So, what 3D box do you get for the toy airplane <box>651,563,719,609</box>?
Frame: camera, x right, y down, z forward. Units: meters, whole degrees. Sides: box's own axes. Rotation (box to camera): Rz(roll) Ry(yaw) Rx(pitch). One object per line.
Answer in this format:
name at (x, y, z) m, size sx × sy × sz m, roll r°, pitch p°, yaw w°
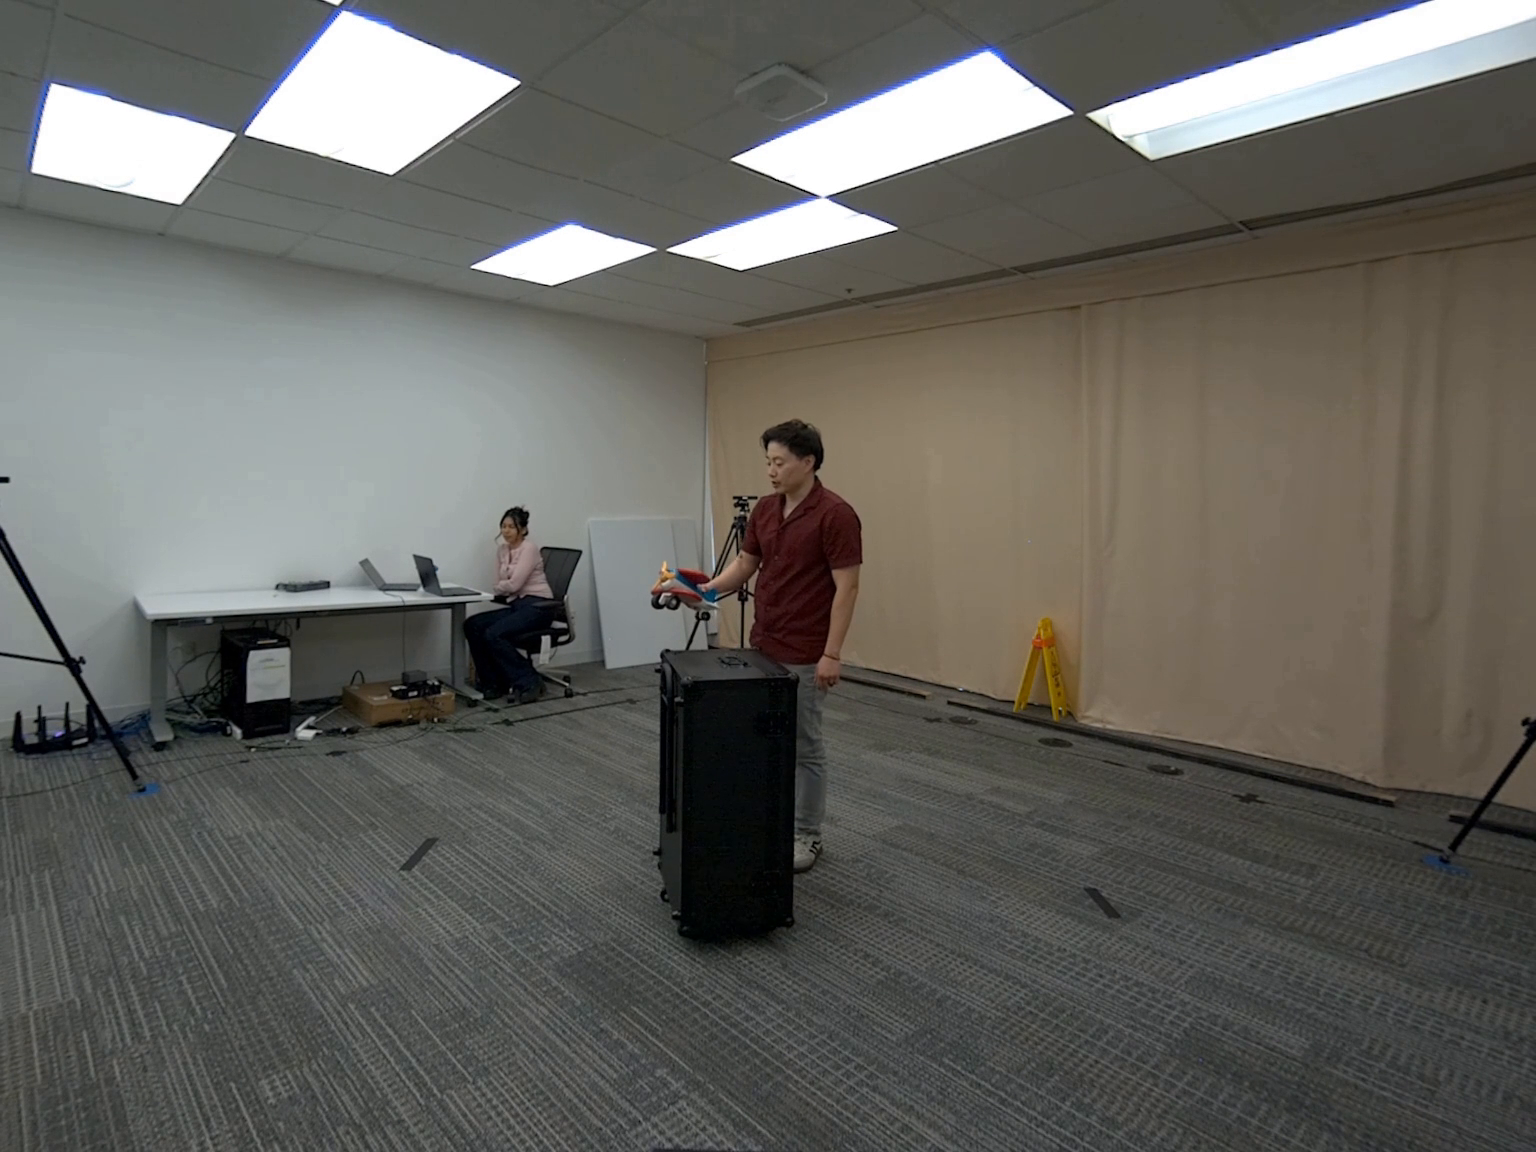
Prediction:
toy airplane at (-0.315, 0.066, 3.069) m, size 0.255 × 0.157 × 0.253 m, roll 7°, pitch -10°, yaw 21°
